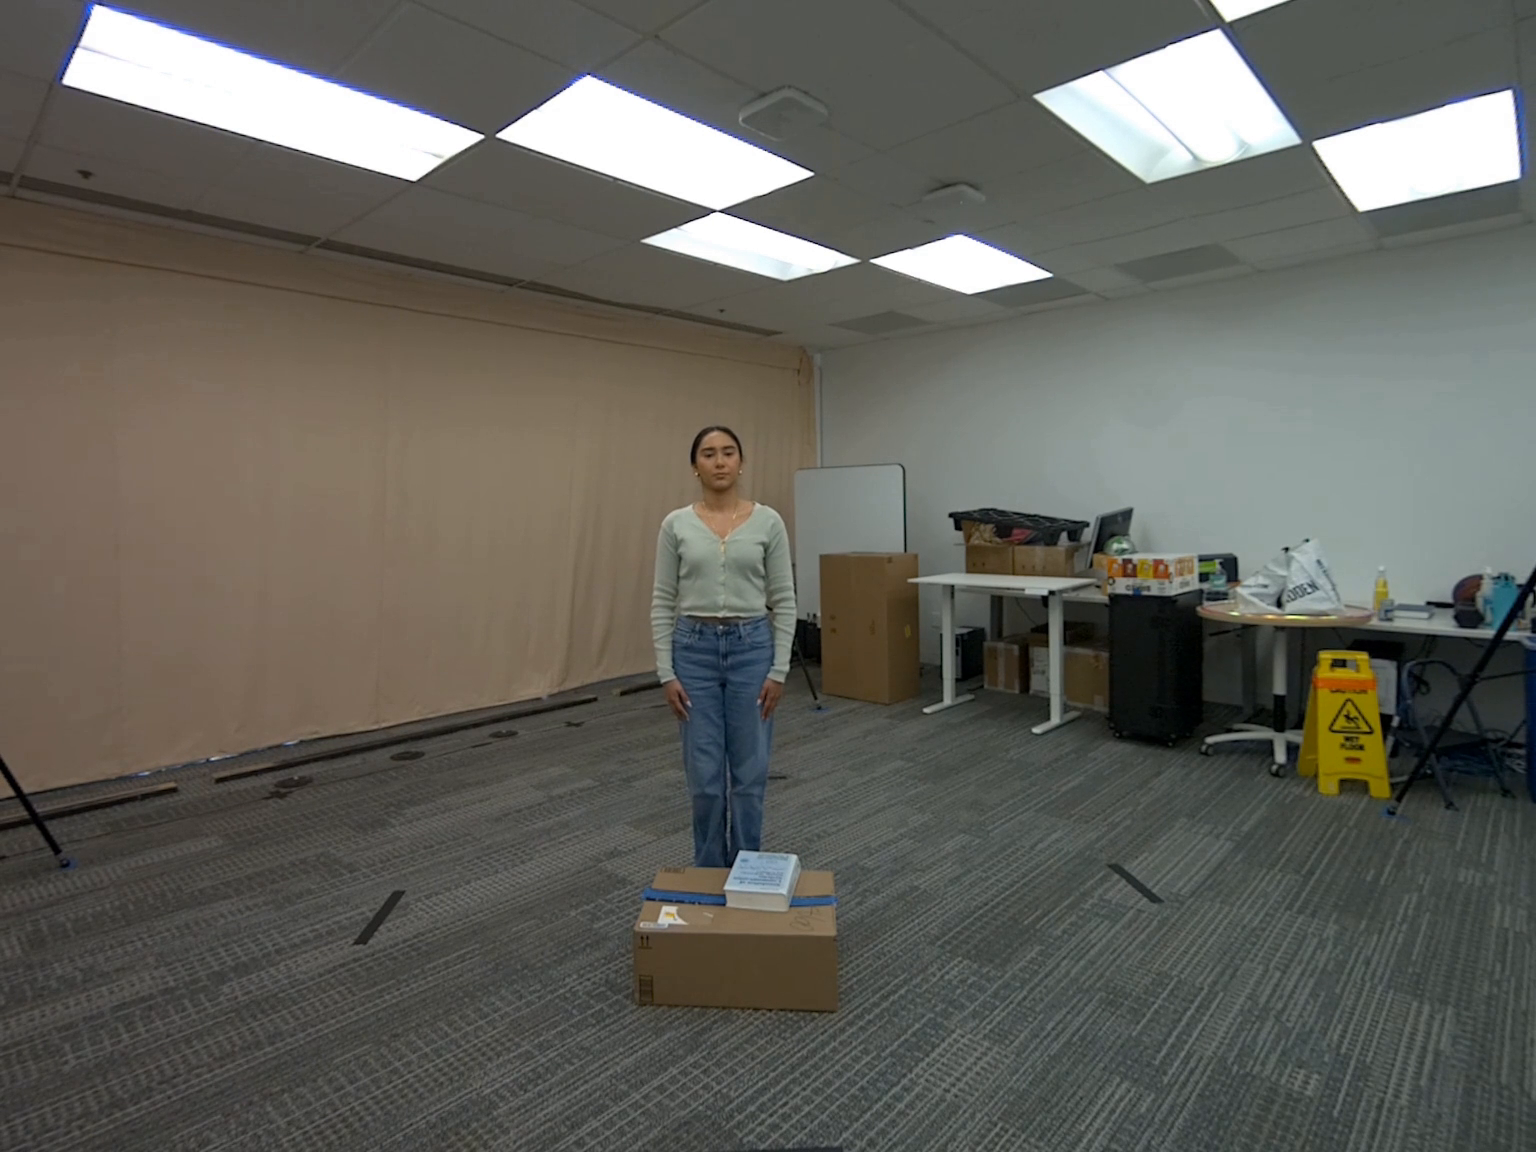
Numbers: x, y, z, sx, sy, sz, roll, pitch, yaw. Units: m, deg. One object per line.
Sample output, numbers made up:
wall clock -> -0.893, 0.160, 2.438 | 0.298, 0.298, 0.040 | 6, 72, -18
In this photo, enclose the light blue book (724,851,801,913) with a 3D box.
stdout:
light blue book -> -0.012, 0.930, 2.588 | 0.194, 0.059, 0.259 | -1, 6, 11
